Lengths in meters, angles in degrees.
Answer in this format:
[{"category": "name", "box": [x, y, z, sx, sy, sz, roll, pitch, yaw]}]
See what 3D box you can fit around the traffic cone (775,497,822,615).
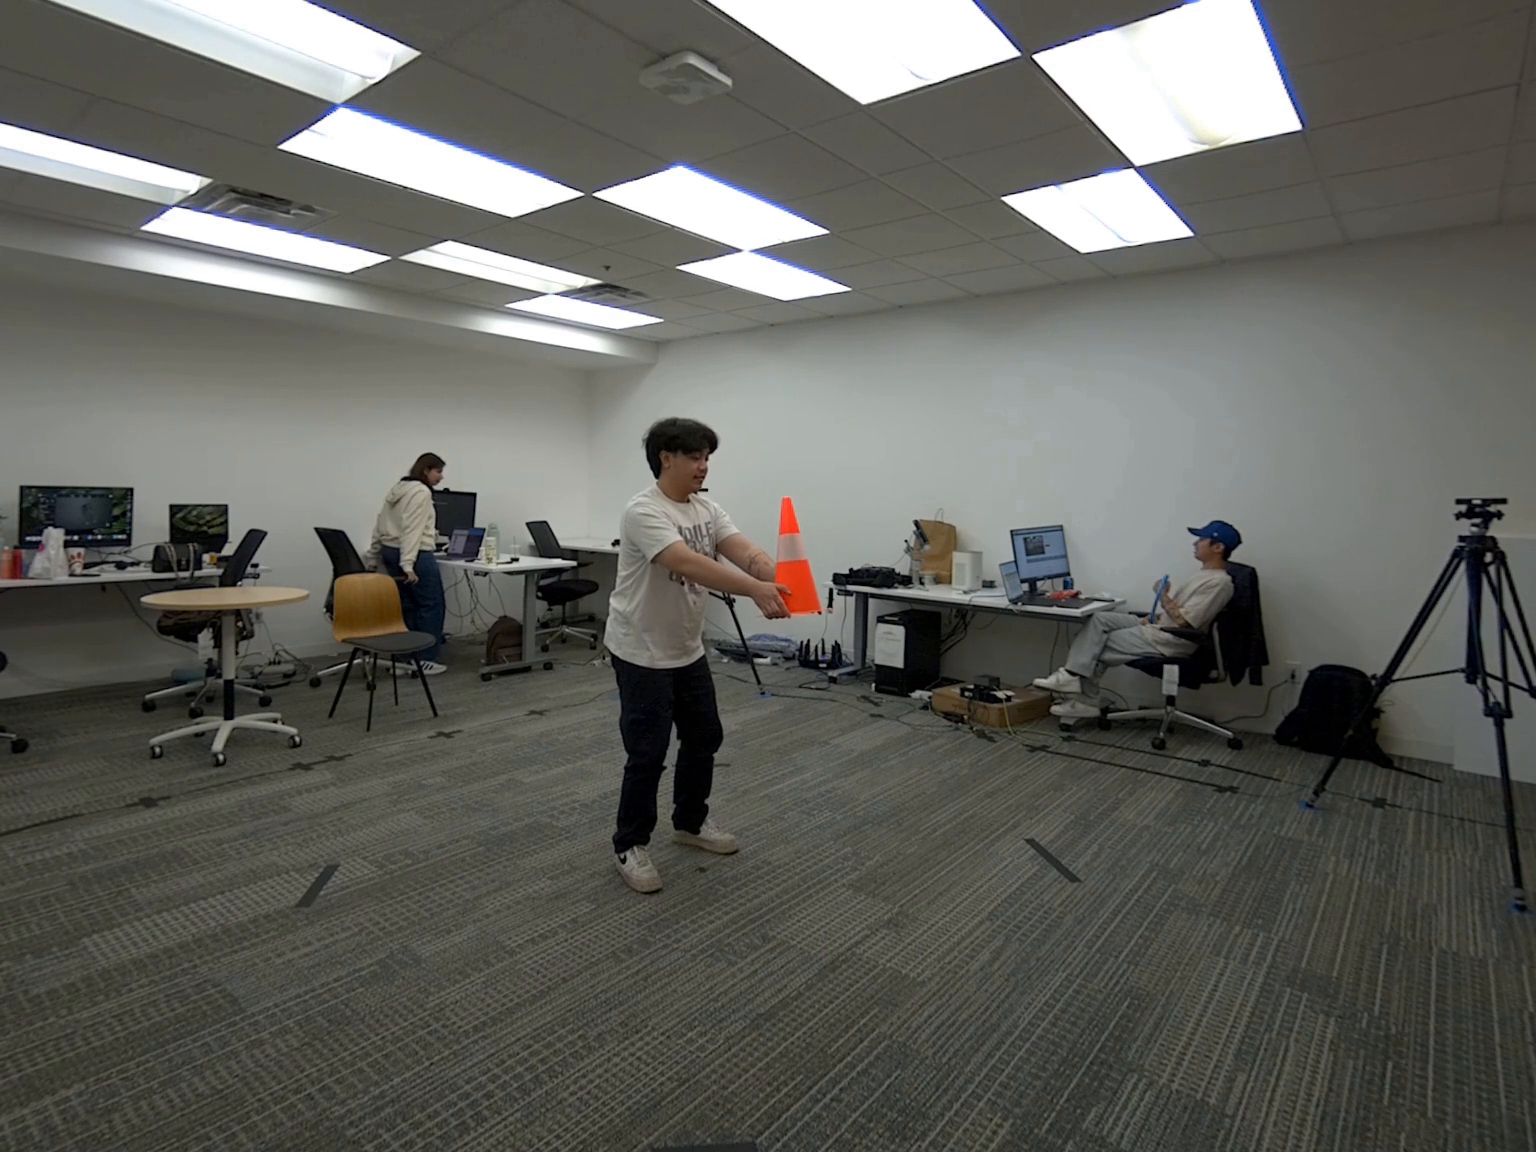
[{"category": "traffic cone", "box": [0.076, -0.071, 2.804, 0.208, 0.385, 0.200, -6, -2, 24]}]
